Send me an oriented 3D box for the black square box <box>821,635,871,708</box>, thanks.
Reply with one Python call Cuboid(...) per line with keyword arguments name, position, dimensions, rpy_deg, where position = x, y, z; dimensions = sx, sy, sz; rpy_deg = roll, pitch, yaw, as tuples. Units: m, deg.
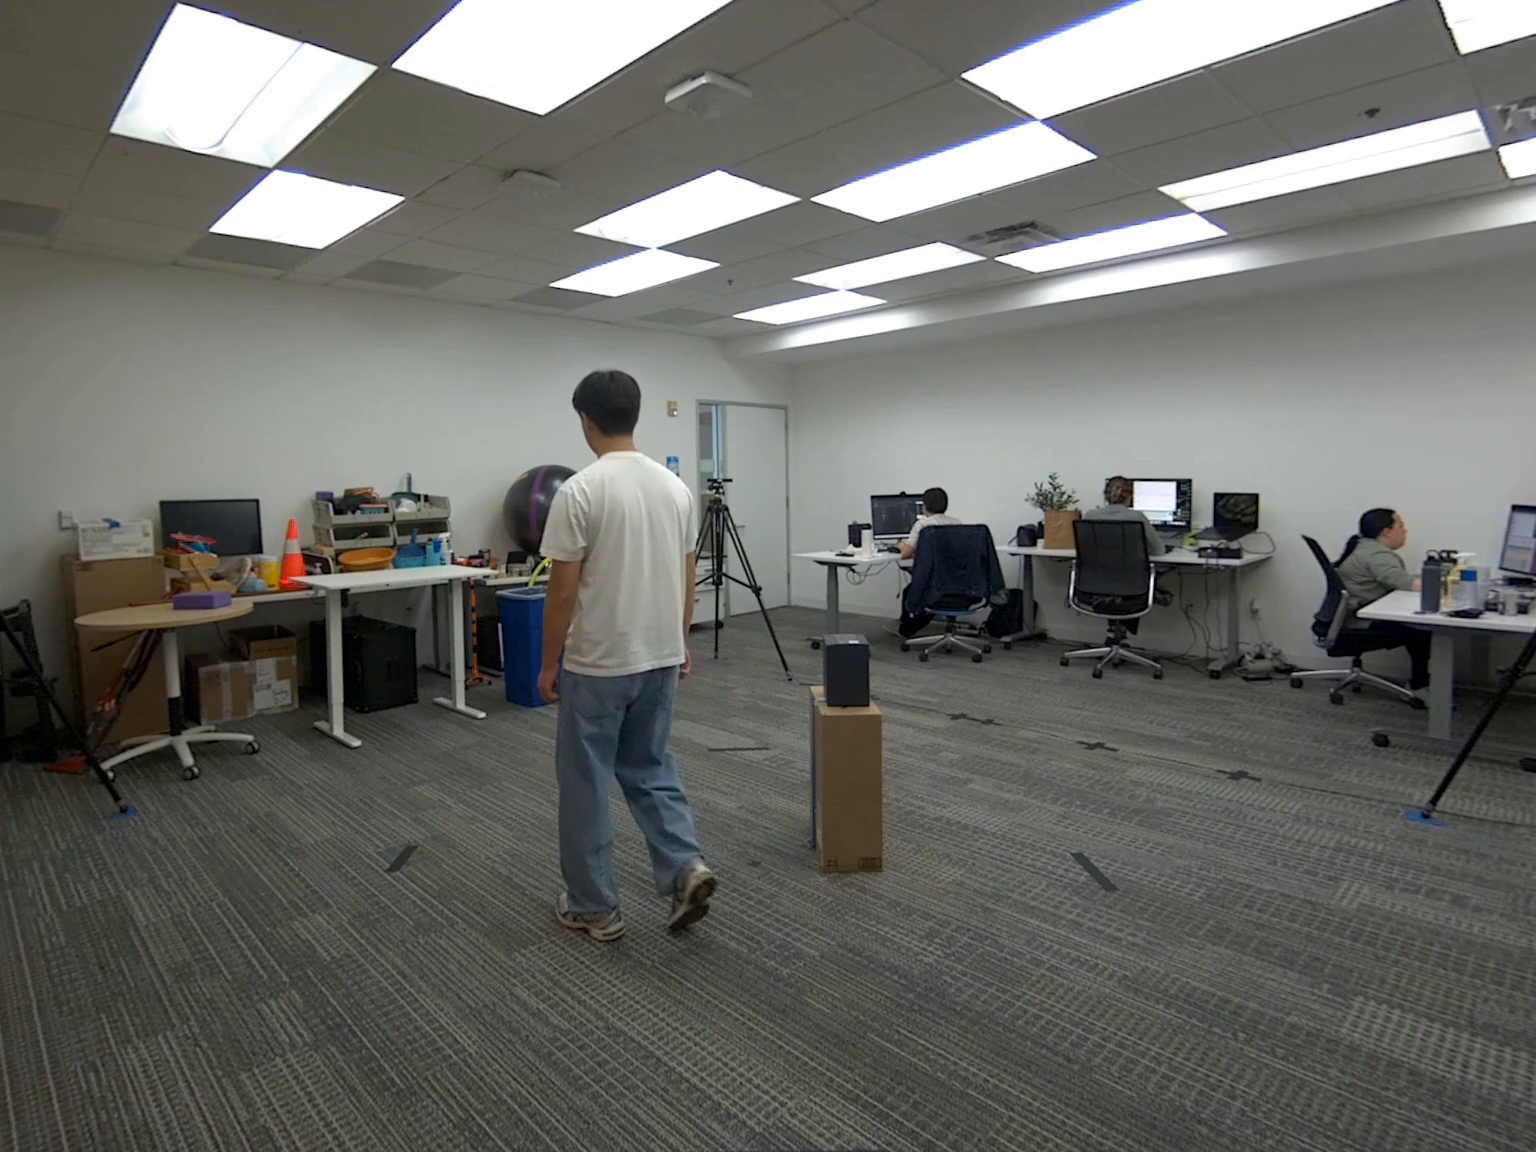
Cuboid(name="black square box", position=(0.294, 0.346, 3.198), dimensions=(0.156, 0.227, 0.217), rpy_deg=(-1, 6, 3))
